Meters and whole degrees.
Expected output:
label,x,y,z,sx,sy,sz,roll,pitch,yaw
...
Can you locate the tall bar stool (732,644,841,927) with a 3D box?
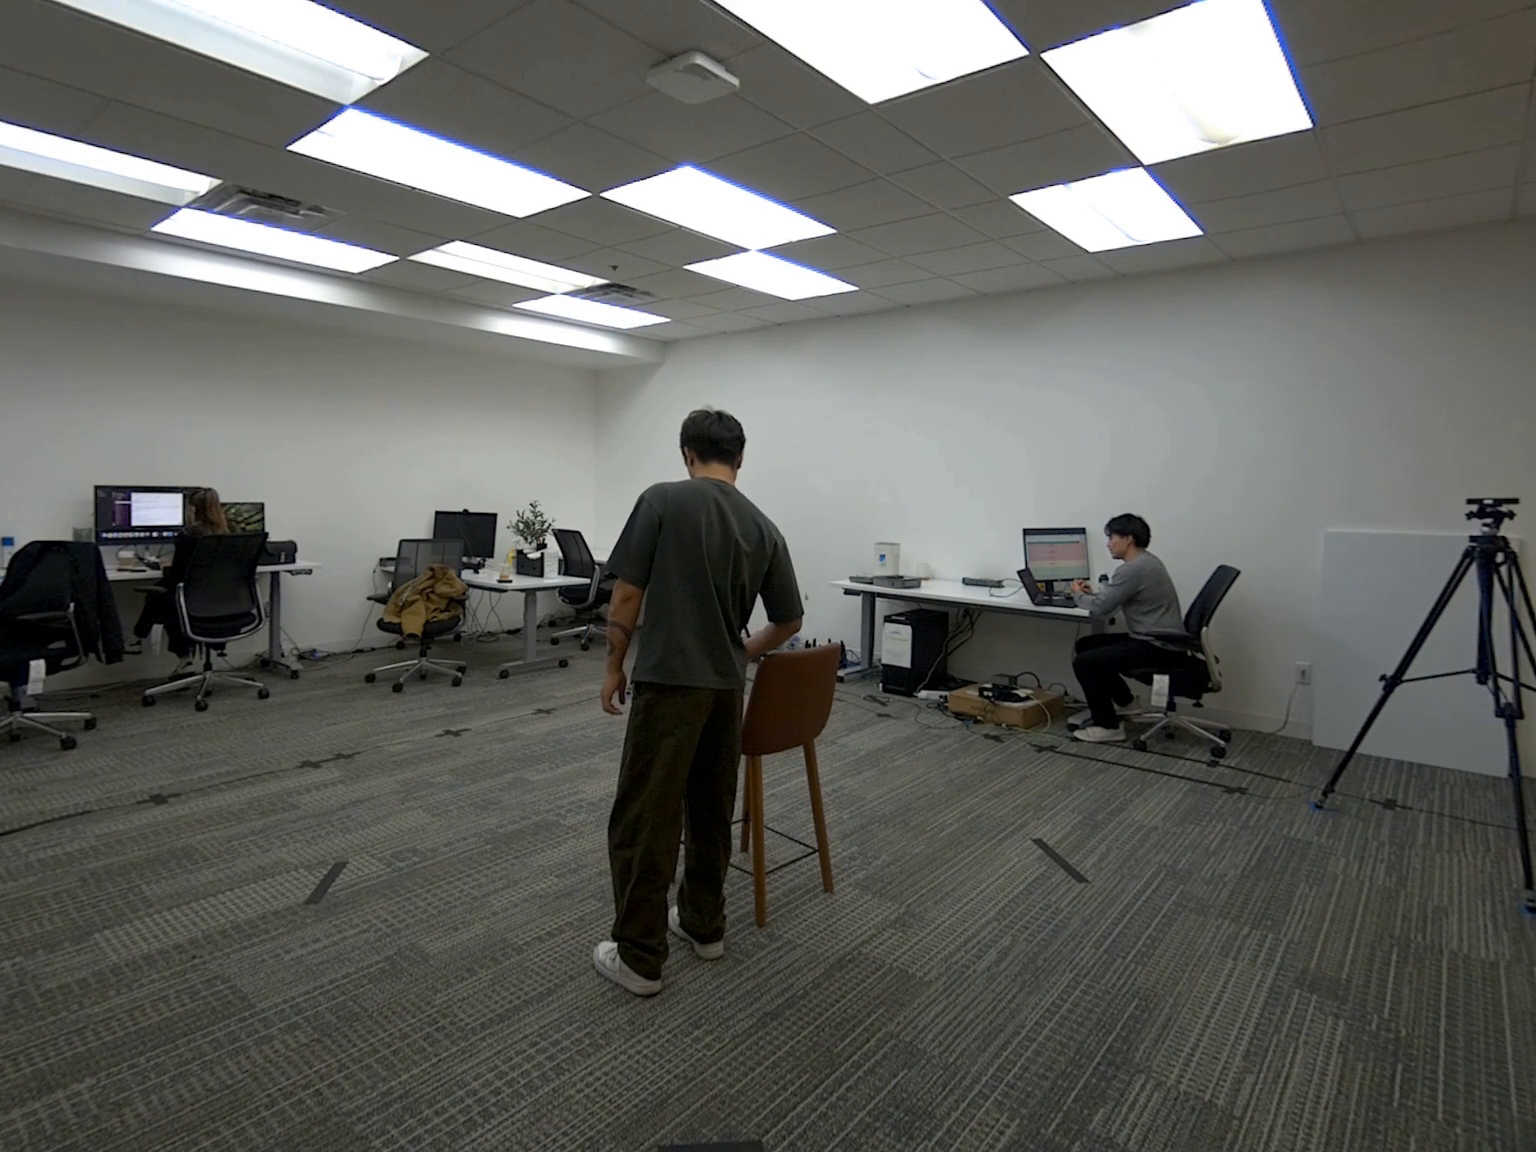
label,x,y,z,sx,sy,sz,roll,pitch,yaw
tall bar stool,-0.050,0.651,2.962,0.484,0.886,0.442,7,6,44
